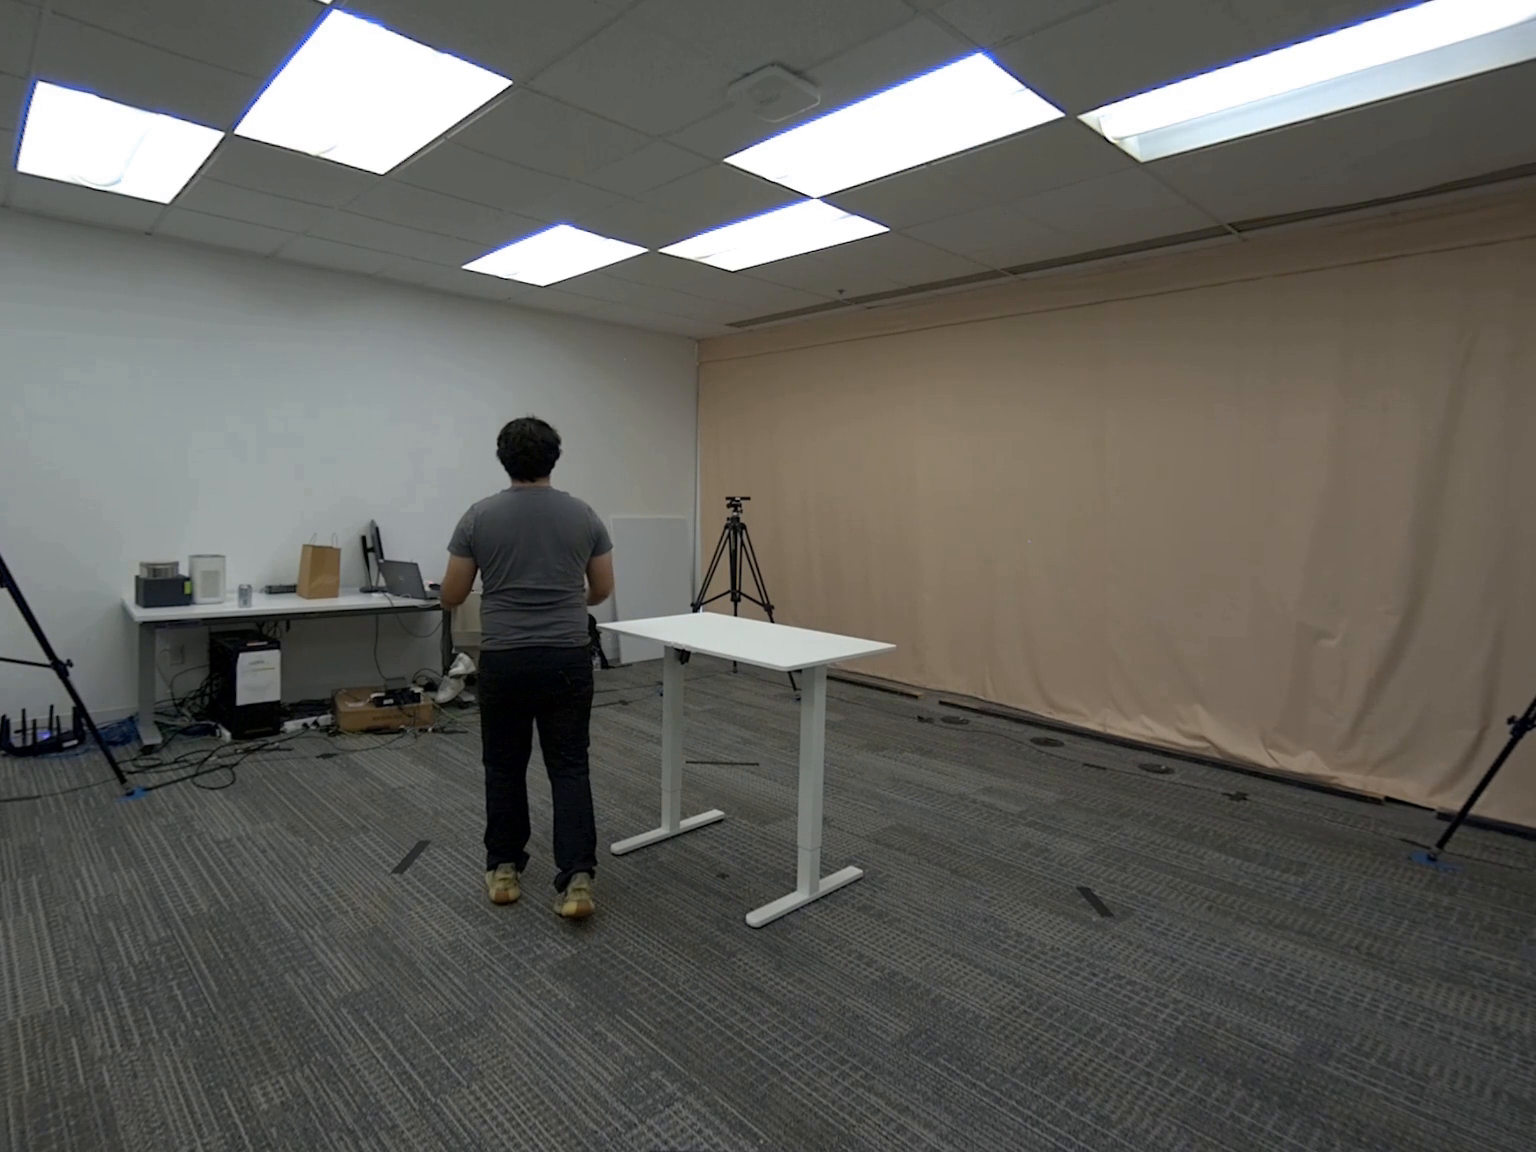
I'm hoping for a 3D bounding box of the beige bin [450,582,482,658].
[{"bbox_3d":[-0.974,0.170,3.177,0.417,0.188,0.383,0,5,-16],"label":"beige bin"}]
